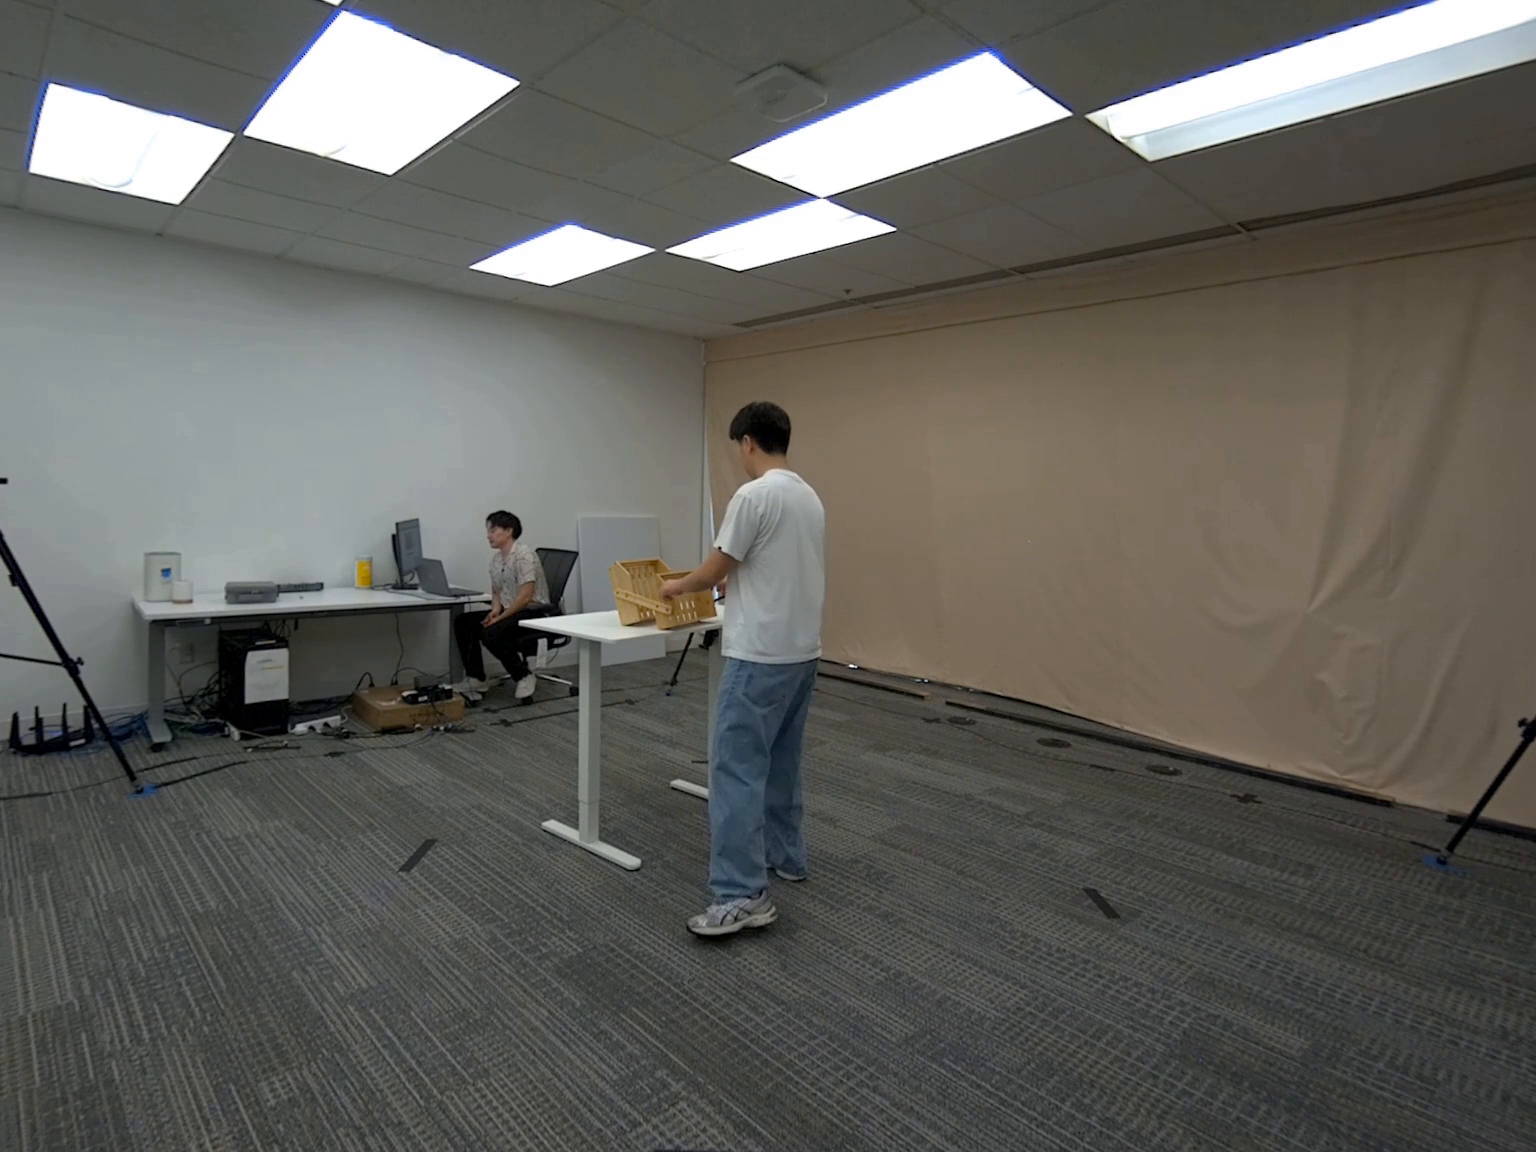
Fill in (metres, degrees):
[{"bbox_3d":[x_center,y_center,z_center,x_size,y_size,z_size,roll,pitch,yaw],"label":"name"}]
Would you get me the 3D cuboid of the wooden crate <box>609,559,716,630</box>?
[{"bbox_3d":[-0.423,0.059,3.387,0.277,0.303,0.319,-15,-4,27],"label":"wooden crate"}]
